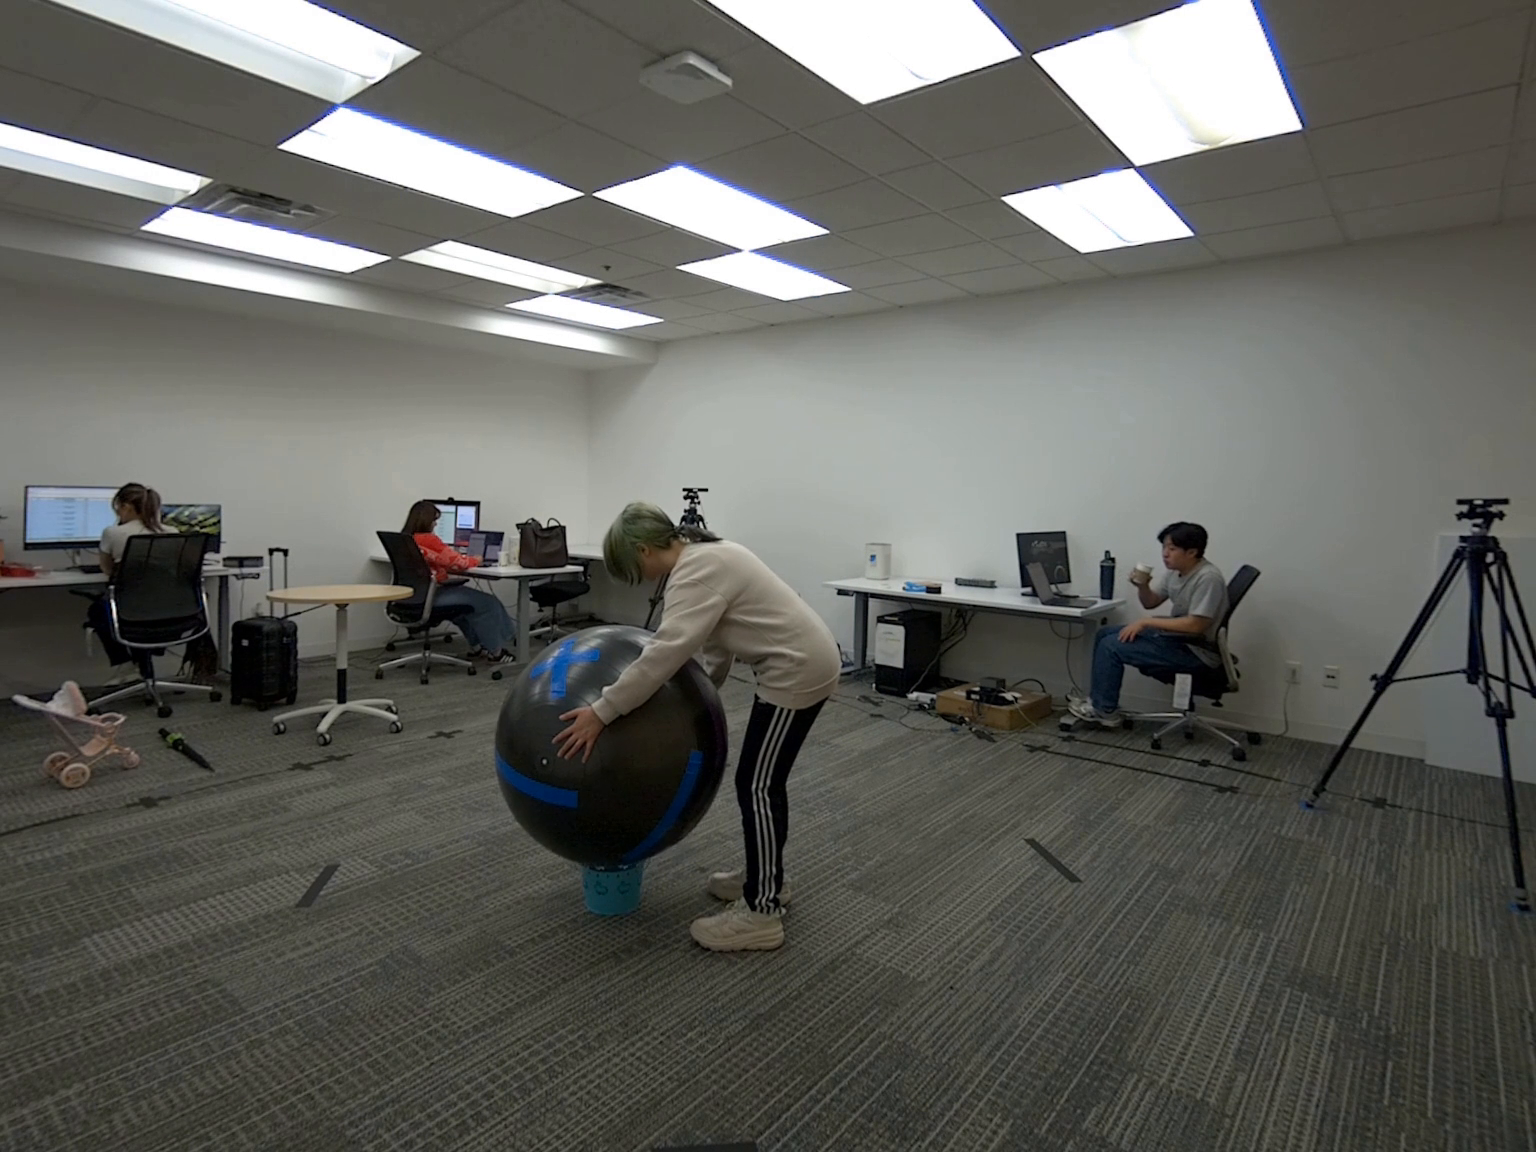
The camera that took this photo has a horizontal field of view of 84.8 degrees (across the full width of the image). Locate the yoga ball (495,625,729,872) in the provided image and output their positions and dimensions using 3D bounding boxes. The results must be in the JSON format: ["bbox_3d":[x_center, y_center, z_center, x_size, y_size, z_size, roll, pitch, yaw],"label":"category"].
[{"bbox_3d":[-0.517,0.542,2.784,0.757,0.756,0.761,1,4,-2],"label":"yoga ball"}]
